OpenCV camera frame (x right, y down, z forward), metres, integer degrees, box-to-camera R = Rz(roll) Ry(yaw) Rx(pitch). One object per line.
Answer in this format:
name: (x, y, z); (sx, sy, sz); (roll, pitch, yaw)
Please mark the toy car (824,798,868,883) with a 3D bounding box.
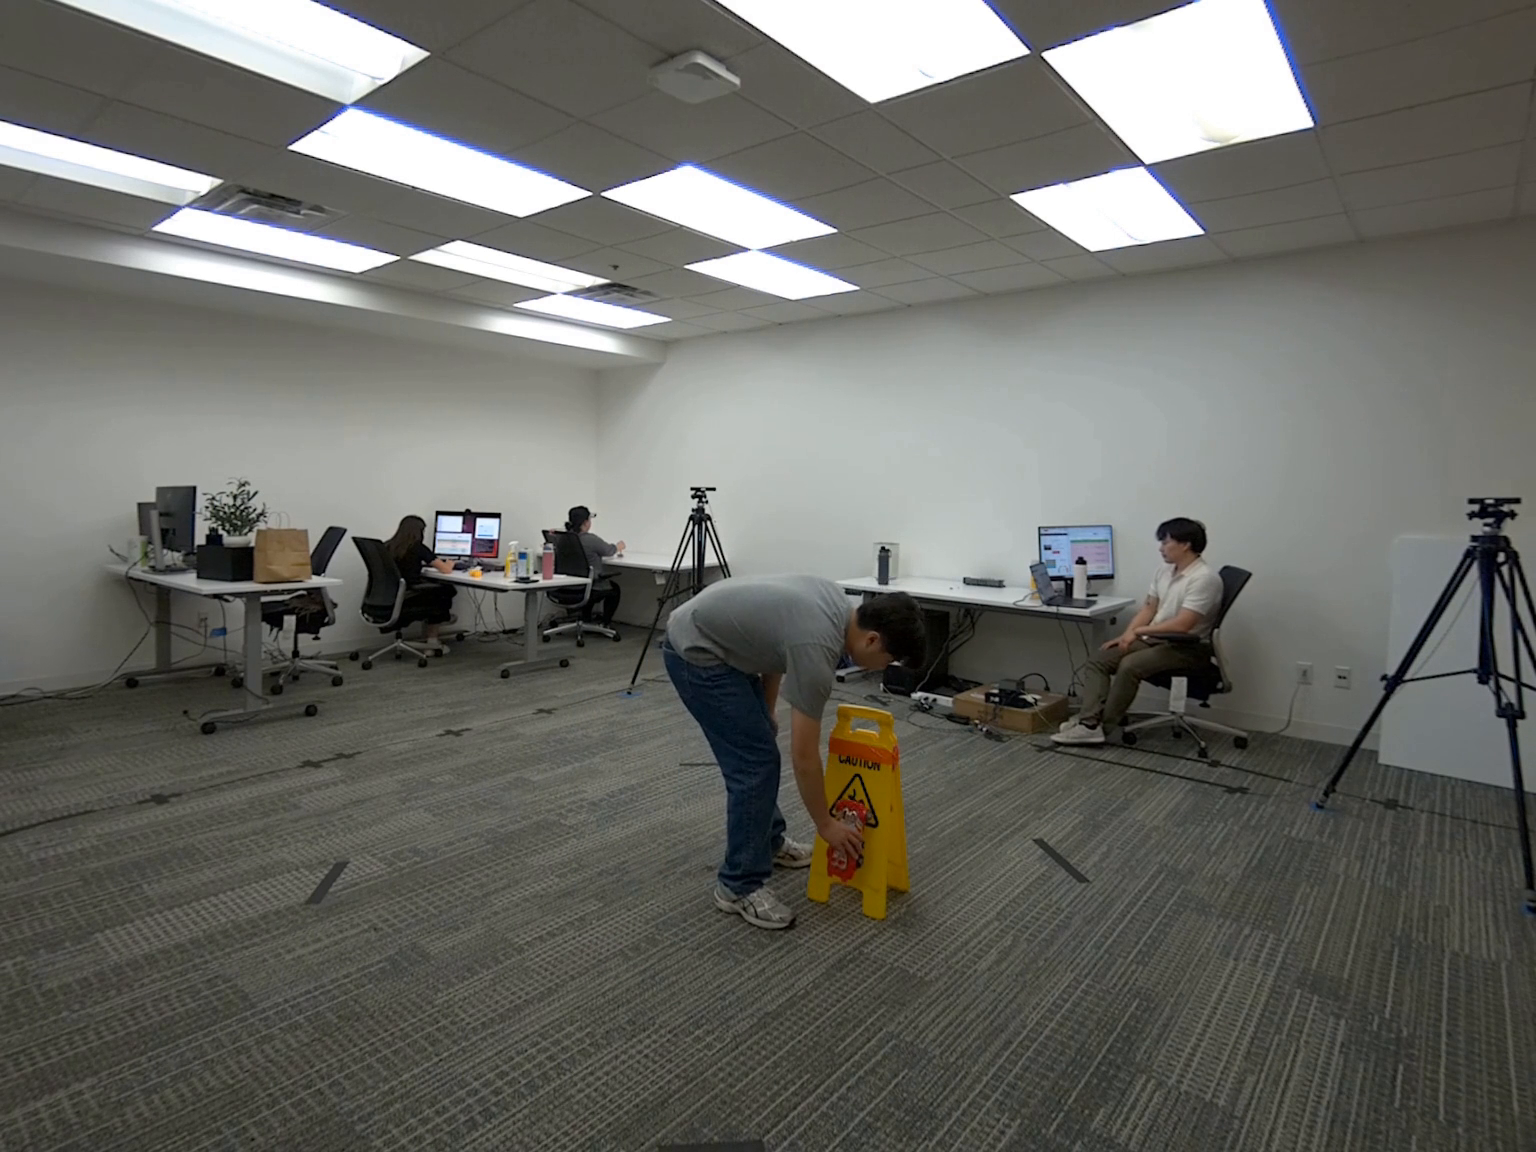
toy car: (0.247, 0.868, 2.817); (0.134, 0.257, 0.080); (9, -20, 31)
